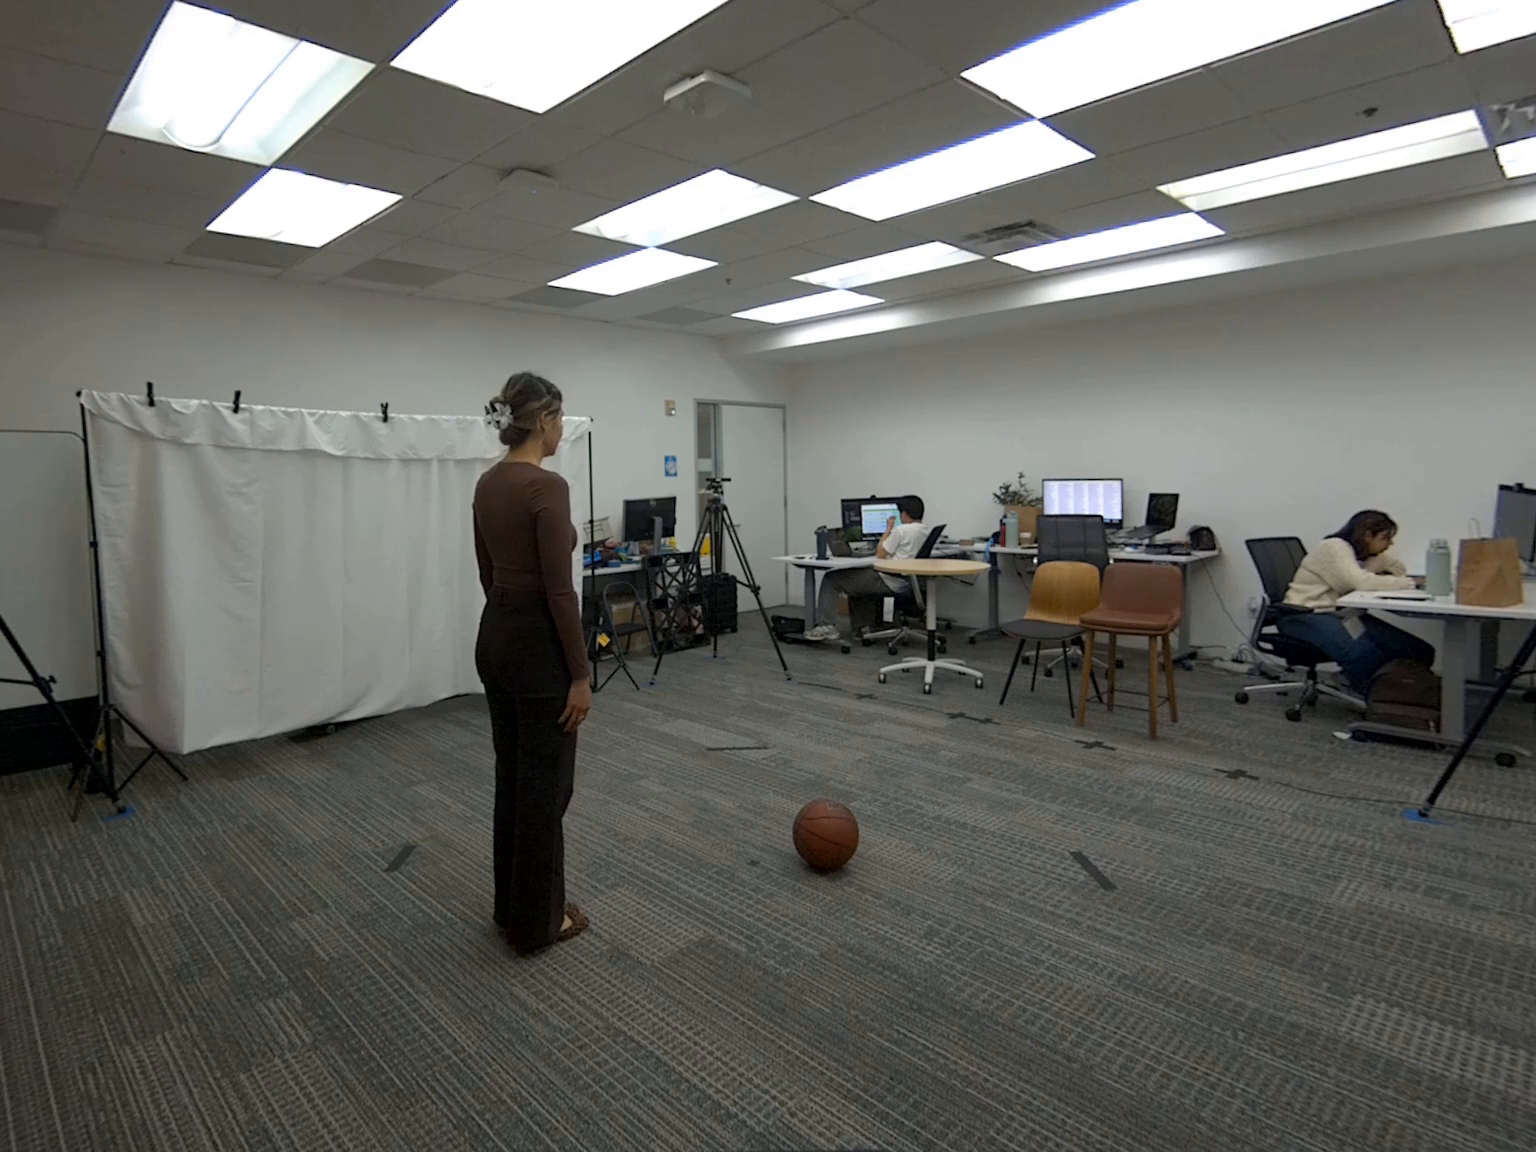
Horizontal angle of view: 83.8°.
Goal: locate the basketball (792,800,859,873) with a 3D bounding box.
[{"bbox_3d":[0.207,0.920,3.067,0.236,0.235,0.237,-1,5,-2],"label":"basketball"}]
